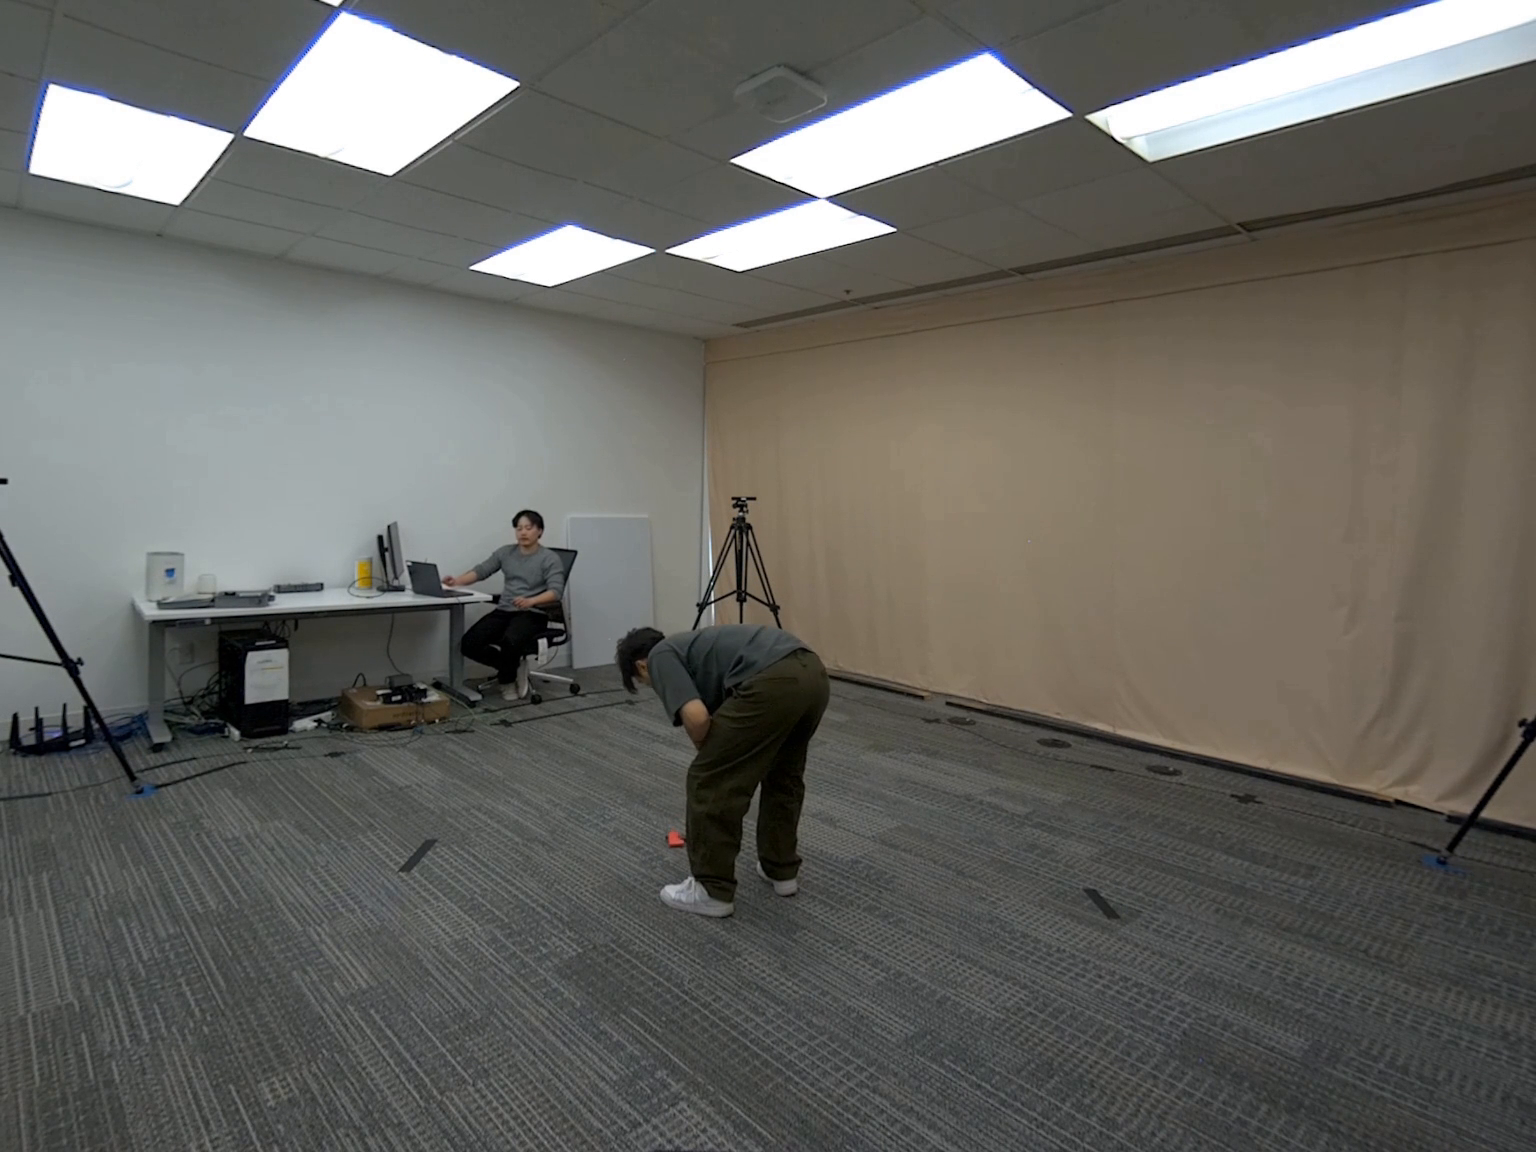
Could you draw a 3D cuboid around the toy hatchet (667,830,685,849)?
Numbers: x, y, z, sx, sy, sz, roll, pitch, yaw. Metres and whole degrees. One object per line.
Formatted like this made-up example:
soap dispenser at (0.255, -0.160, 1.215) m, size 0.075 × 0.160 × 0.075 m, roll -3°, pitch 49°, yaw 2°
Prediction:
toy hatchet at (-0.290, 1.067, 3.368) m, size 0.274 × 0.029 × 0.129 m, roll 4°, pitch 4°, yaw 20°
